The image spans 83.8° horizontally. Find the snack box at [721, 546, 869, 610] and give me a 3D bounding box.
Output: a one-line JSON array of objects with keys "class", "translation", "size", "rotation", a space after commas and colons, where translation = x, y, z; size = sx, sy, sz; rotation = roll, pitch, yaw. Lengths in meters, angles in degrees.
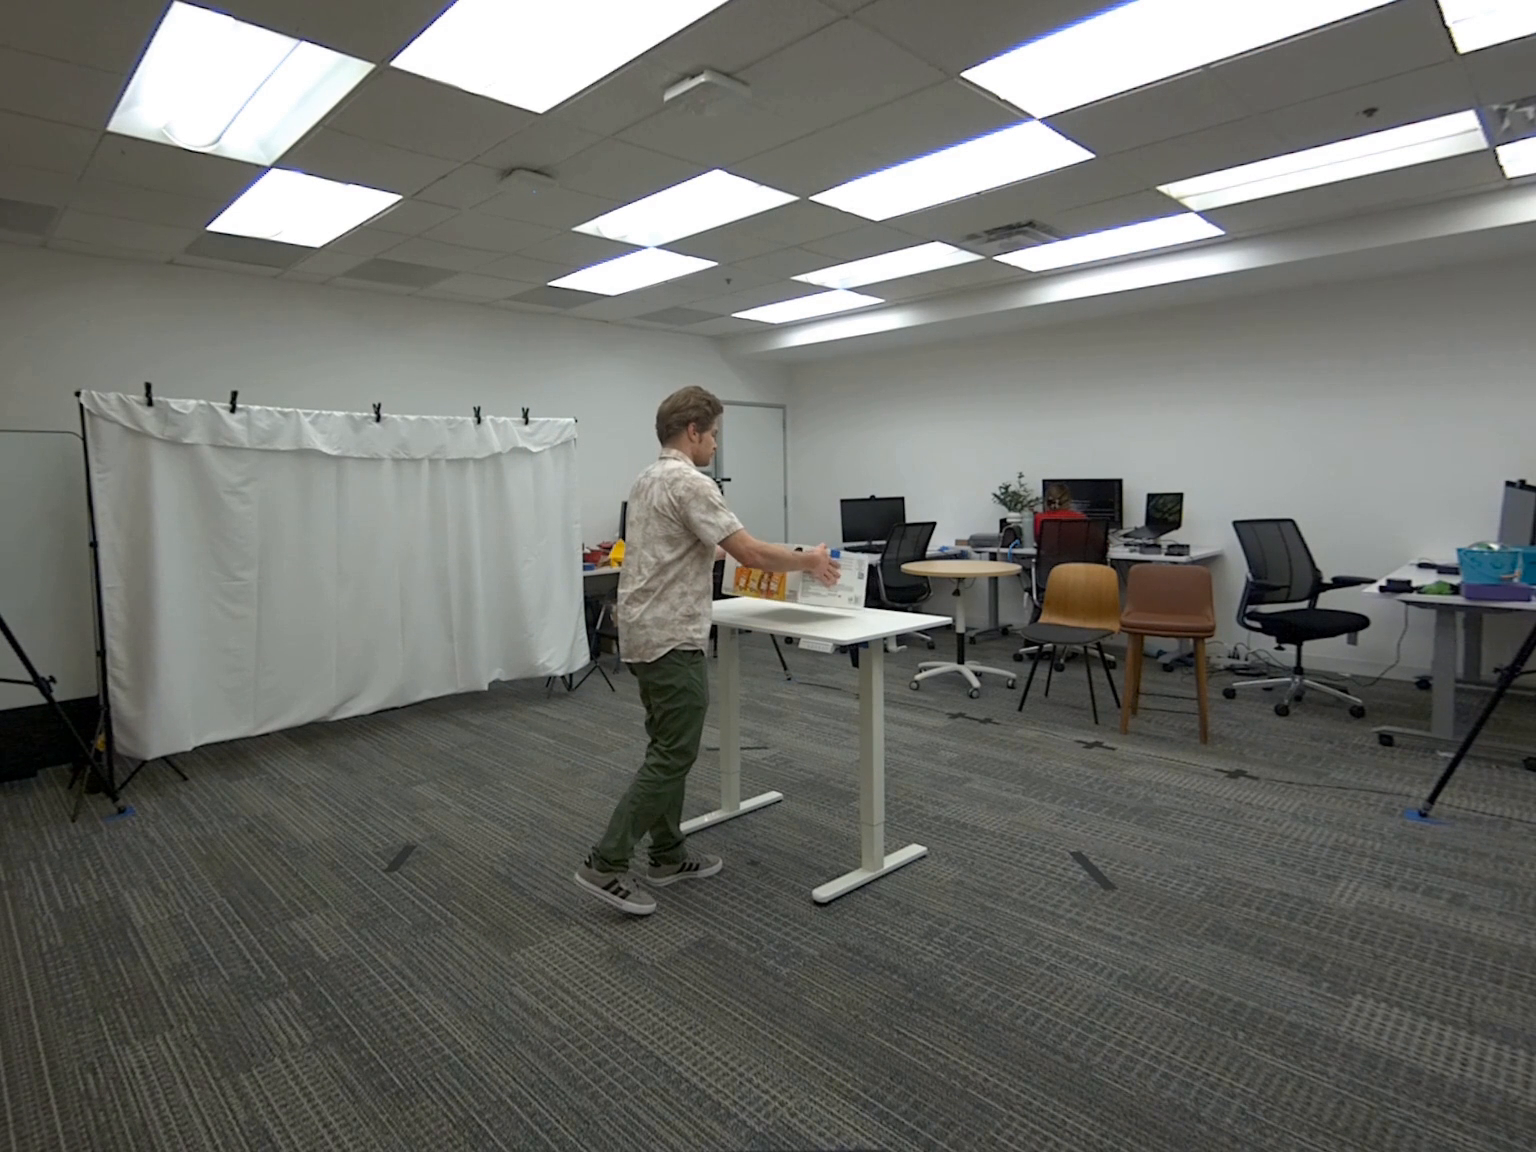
[{"class": "snack box", "translation": [0.095, -0.004, 3.162], "size": [0.330, 0.206, 0.417], "rotation": [6, -1, -41]}]
